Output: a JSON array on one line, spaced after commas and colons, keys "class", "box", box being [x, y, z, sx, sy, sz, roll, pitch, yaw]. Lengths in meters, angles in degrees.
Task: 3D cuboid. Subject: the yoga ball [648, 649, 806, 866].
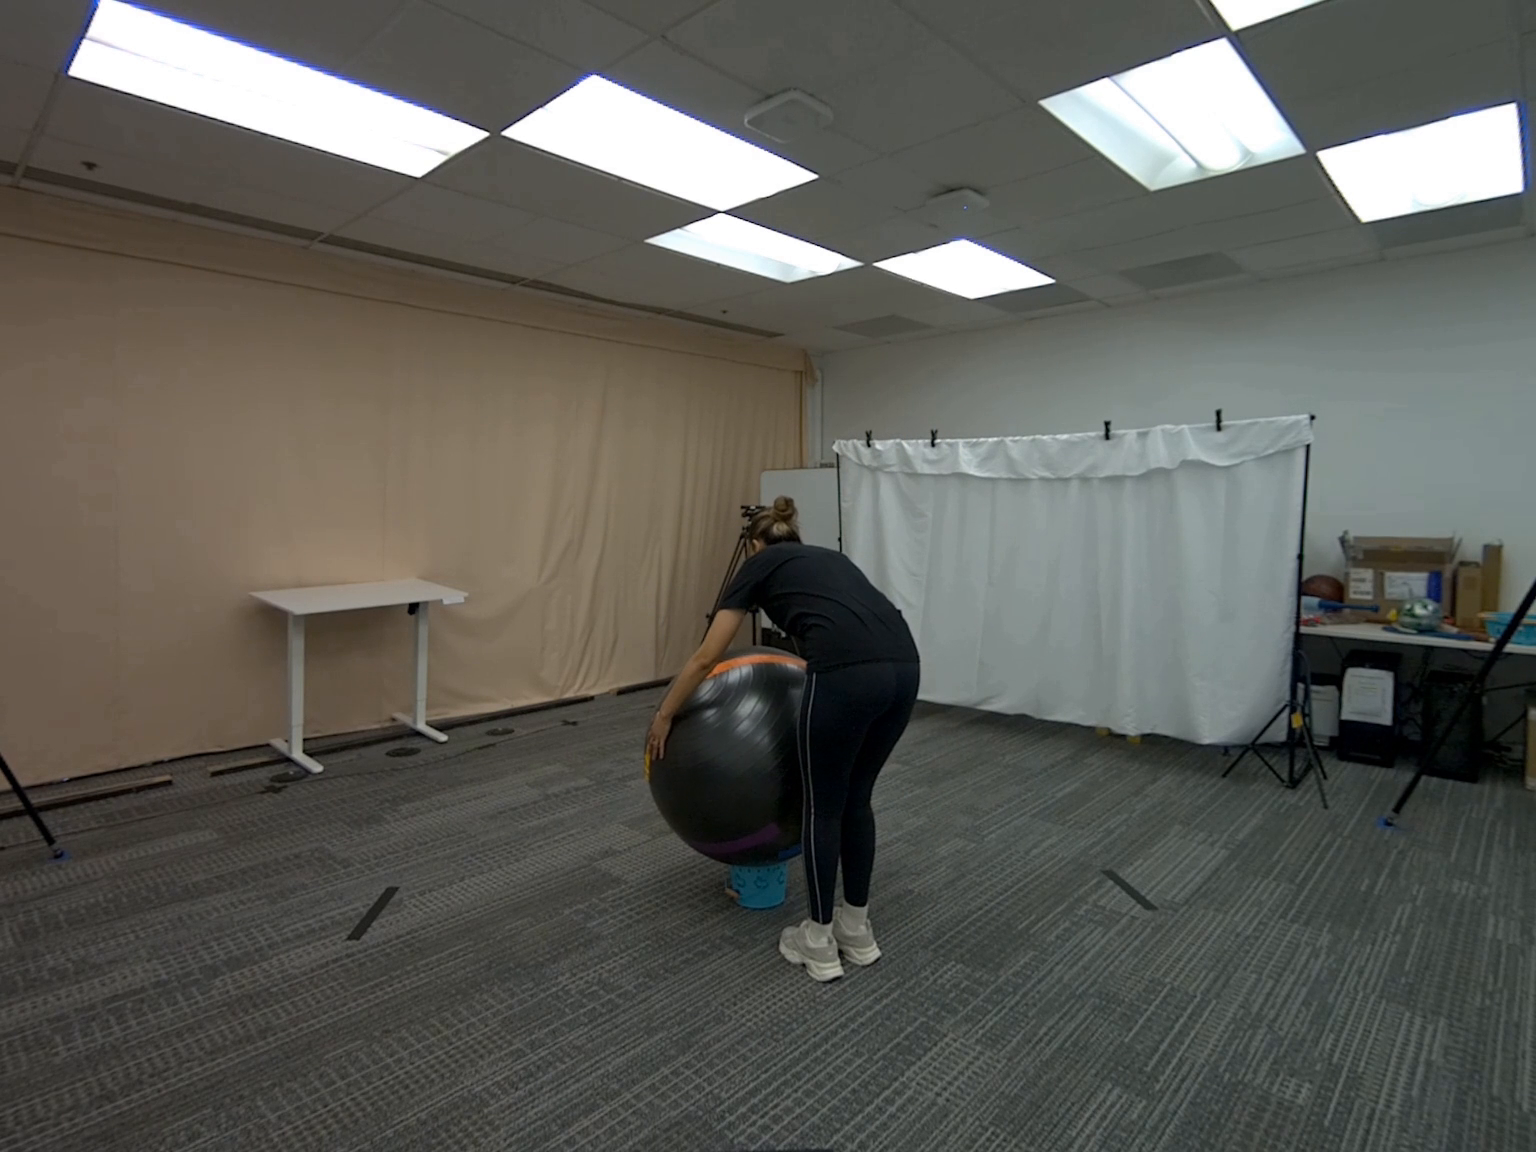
[{"class": "yoga ball", "box": [-0.057, 0.631, 2.986, 0.757, 0.756, 0.761, 0, 4, -2]}]
